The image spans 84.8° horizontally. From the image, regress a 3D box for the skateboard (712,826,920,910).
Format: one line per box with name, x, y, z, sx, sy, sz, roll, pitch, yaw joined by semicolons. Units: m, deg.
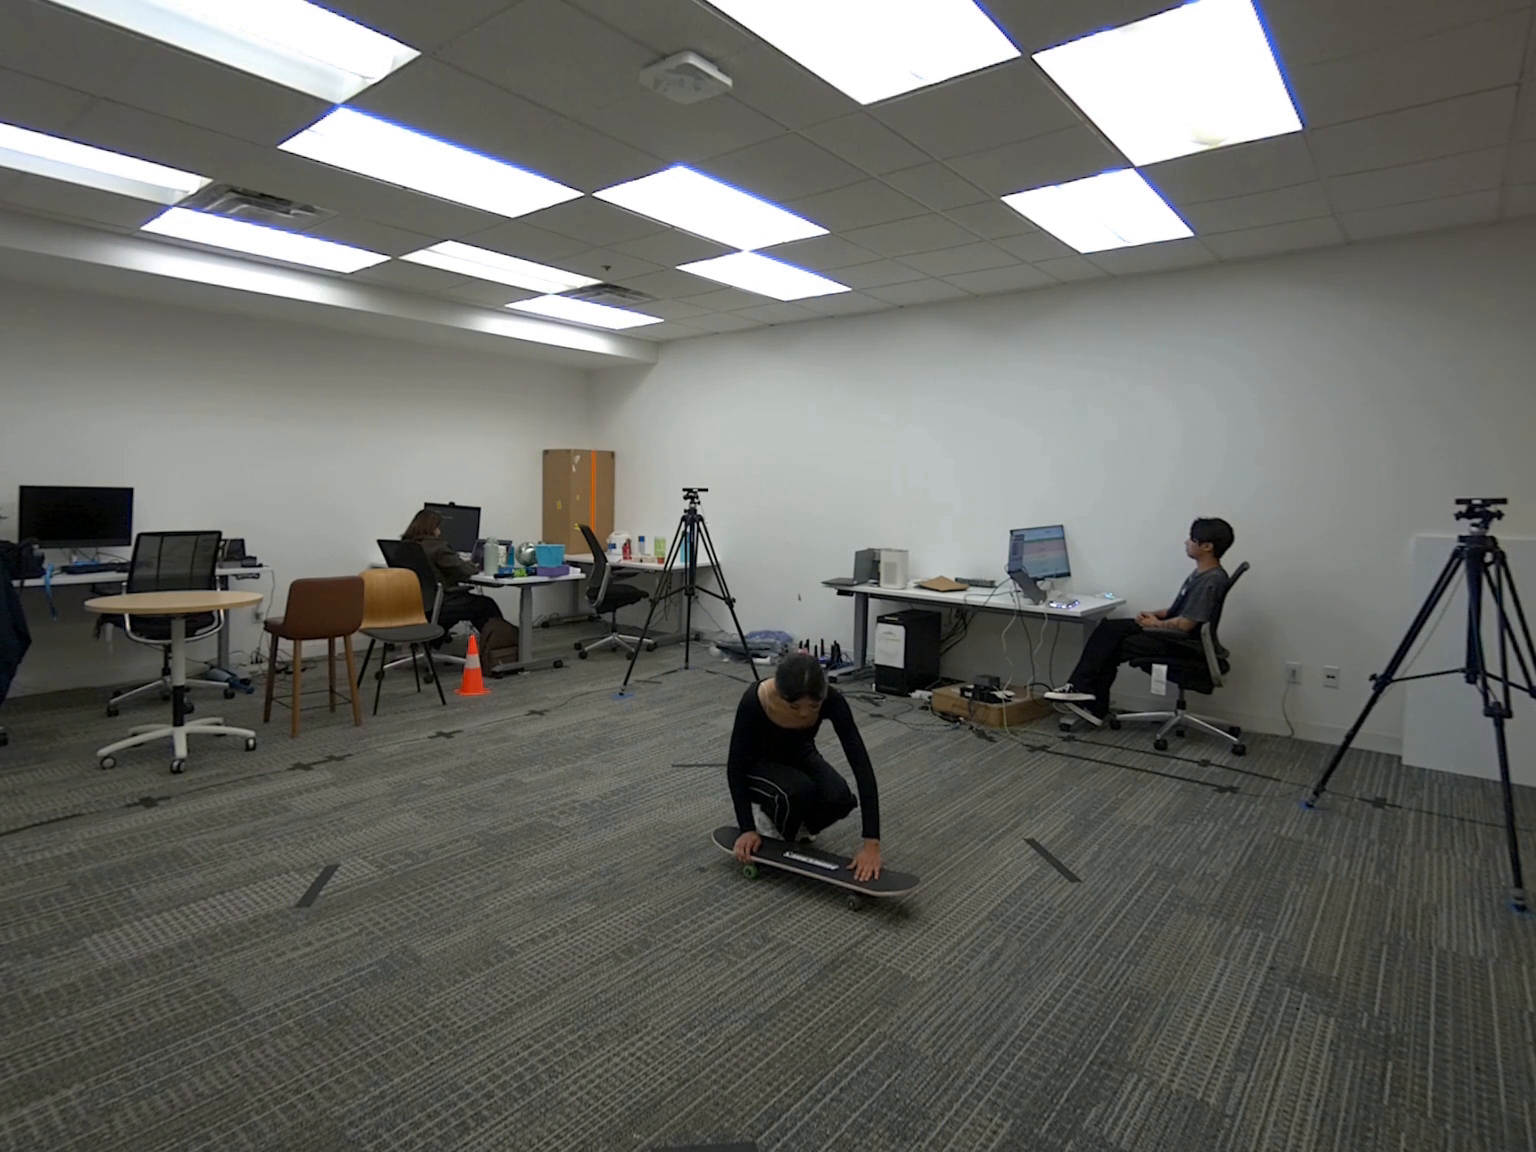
skateboard;0.136;1.025;3.006;0.809;0.110;0.188;5;6;30
